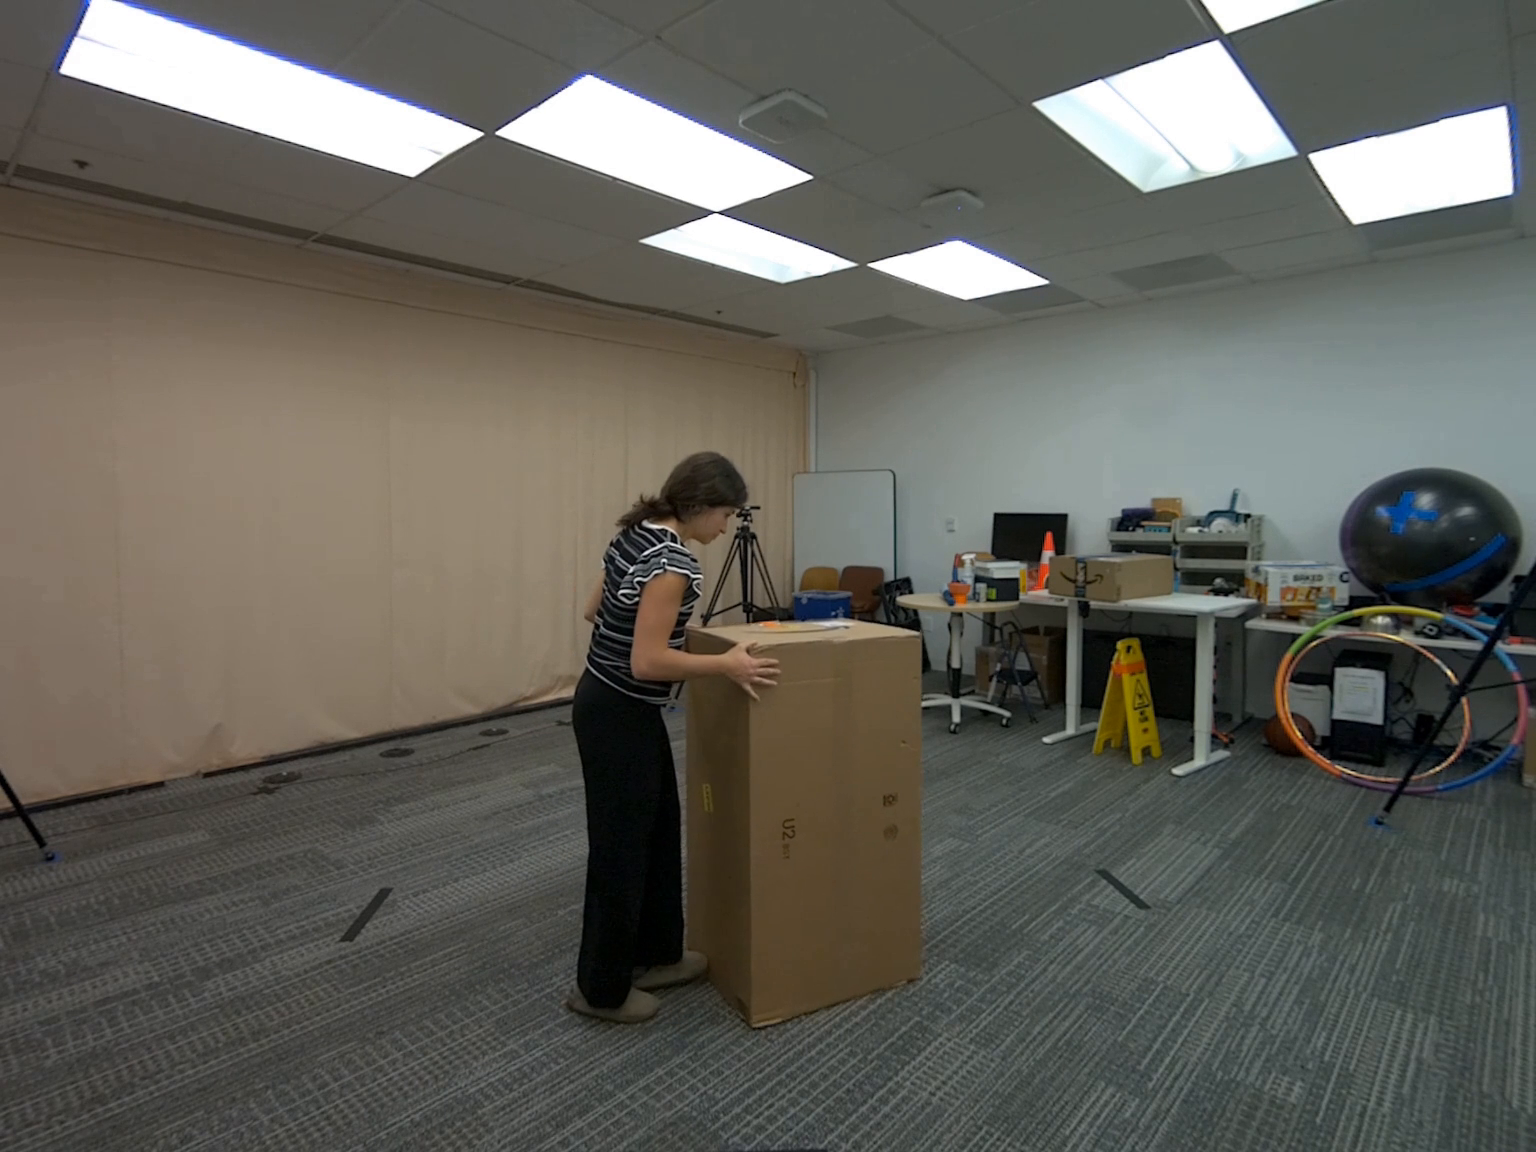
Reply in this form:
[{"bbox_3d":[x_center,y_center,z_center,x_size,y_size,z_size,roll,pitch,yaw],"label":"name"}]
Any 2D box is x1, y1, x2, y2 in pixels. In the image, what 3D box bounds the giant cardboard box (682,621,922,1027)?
[{"bbox_3d":[0.105,0.672,2.530,0.563,1.024,0.438,-2,2,-27],"label":"giant cardboard box"}]
